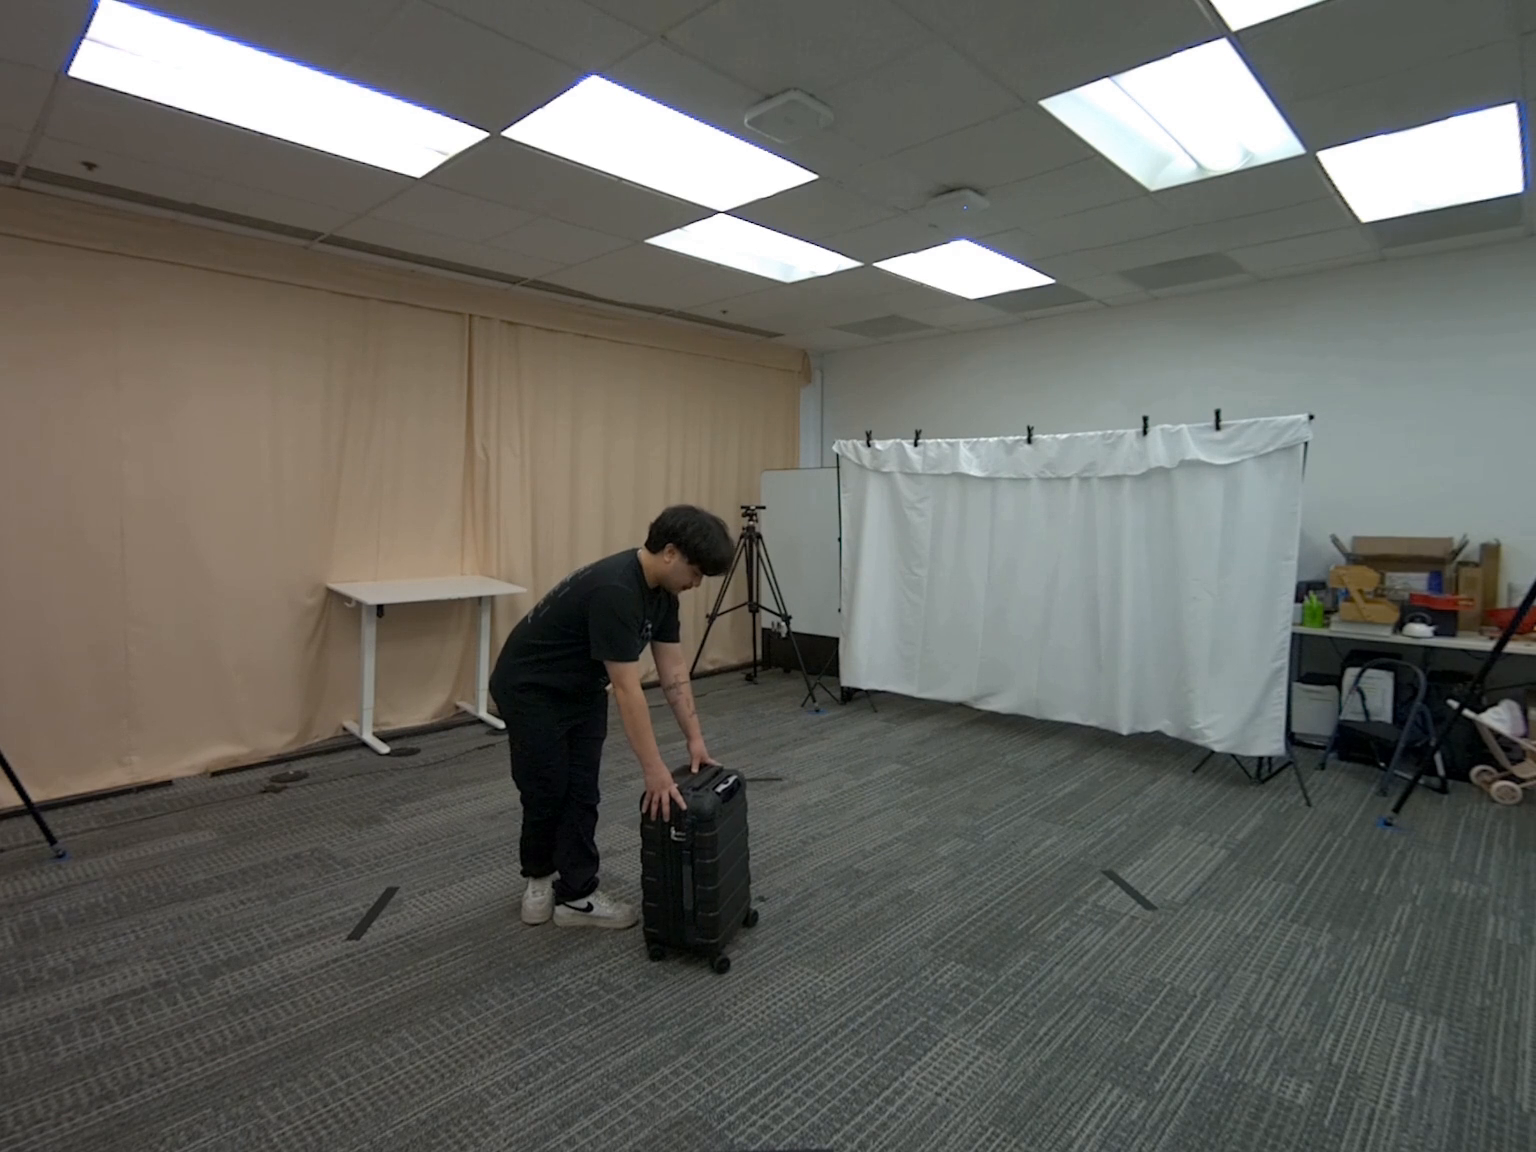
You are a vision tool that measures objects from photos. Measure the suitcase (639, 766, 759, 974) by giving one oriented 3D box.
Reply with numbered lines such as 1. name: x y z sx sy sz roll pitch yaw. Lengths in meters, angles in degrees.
1. suitcase: -0.220 0.902 2.665 0.253 0.548 0.368 -1 4 20
